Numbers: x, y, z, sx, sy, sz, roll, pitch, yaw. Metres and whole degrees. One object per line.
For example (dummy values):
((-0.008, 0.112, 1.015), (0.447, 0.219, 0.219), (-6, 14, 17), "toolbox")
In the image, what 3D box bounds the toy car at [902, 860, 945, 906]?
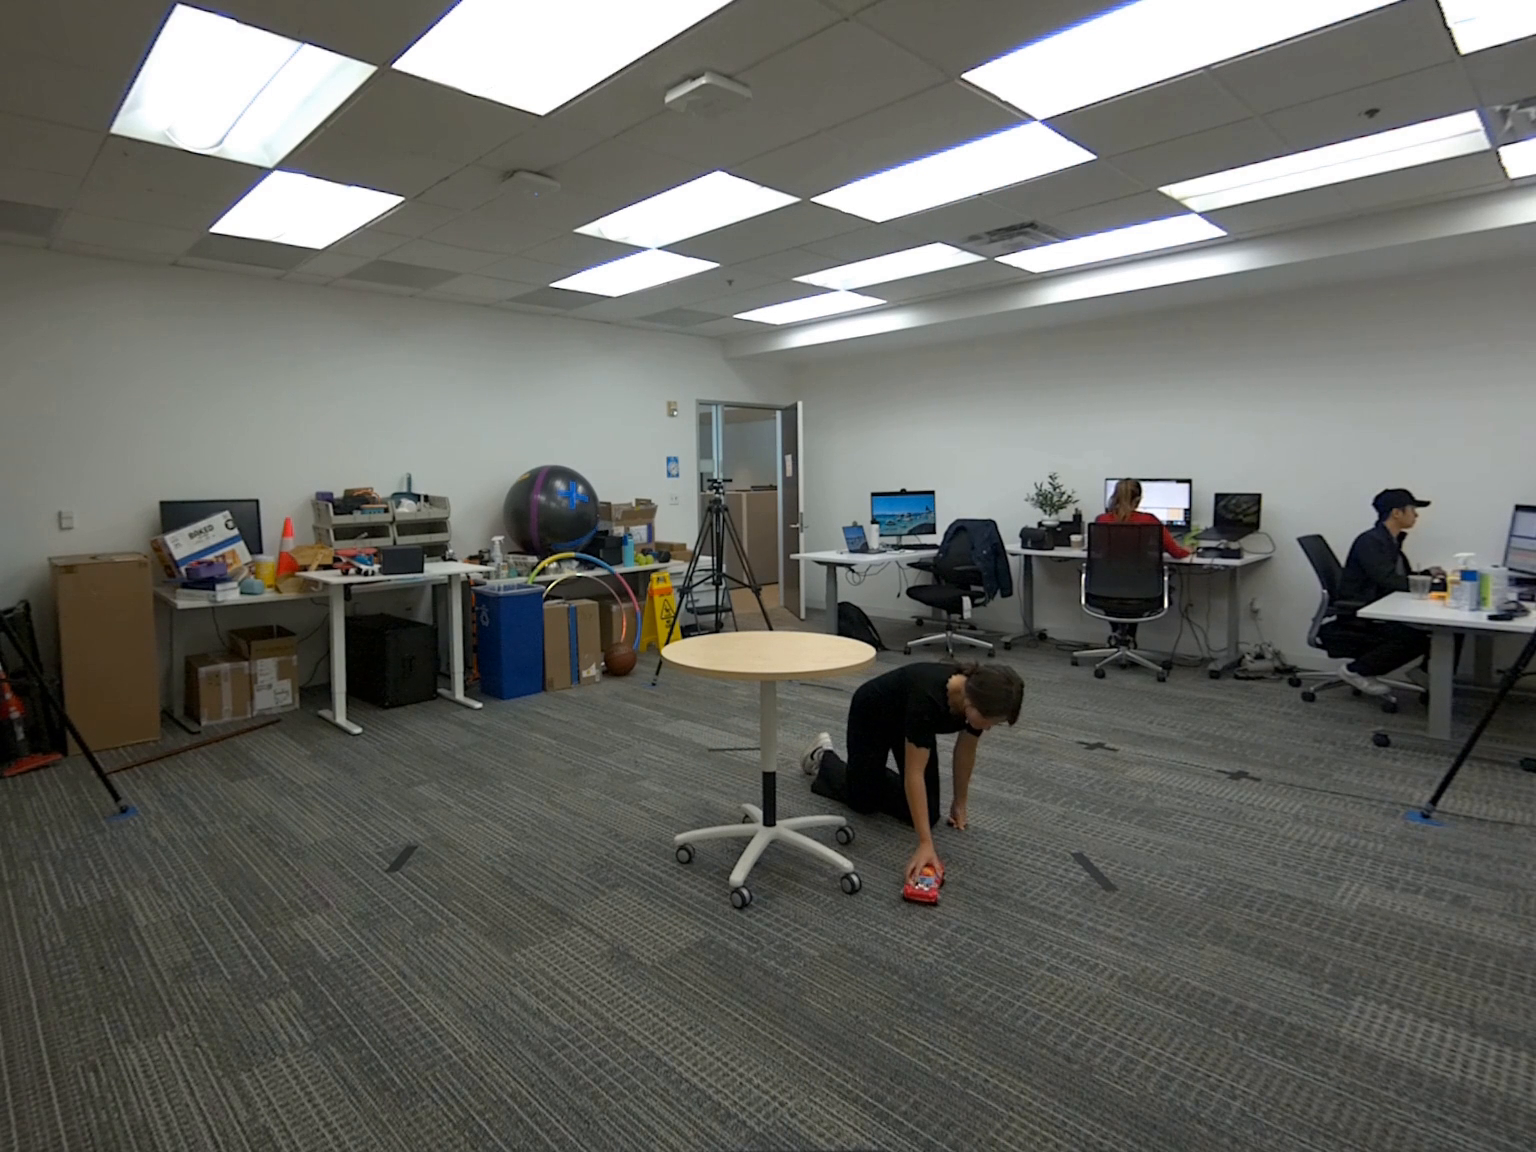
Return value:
((0.536, 1.035, 2.888), (0.133, 0.082, 0.253), (0, 16, 20), "toy car")
